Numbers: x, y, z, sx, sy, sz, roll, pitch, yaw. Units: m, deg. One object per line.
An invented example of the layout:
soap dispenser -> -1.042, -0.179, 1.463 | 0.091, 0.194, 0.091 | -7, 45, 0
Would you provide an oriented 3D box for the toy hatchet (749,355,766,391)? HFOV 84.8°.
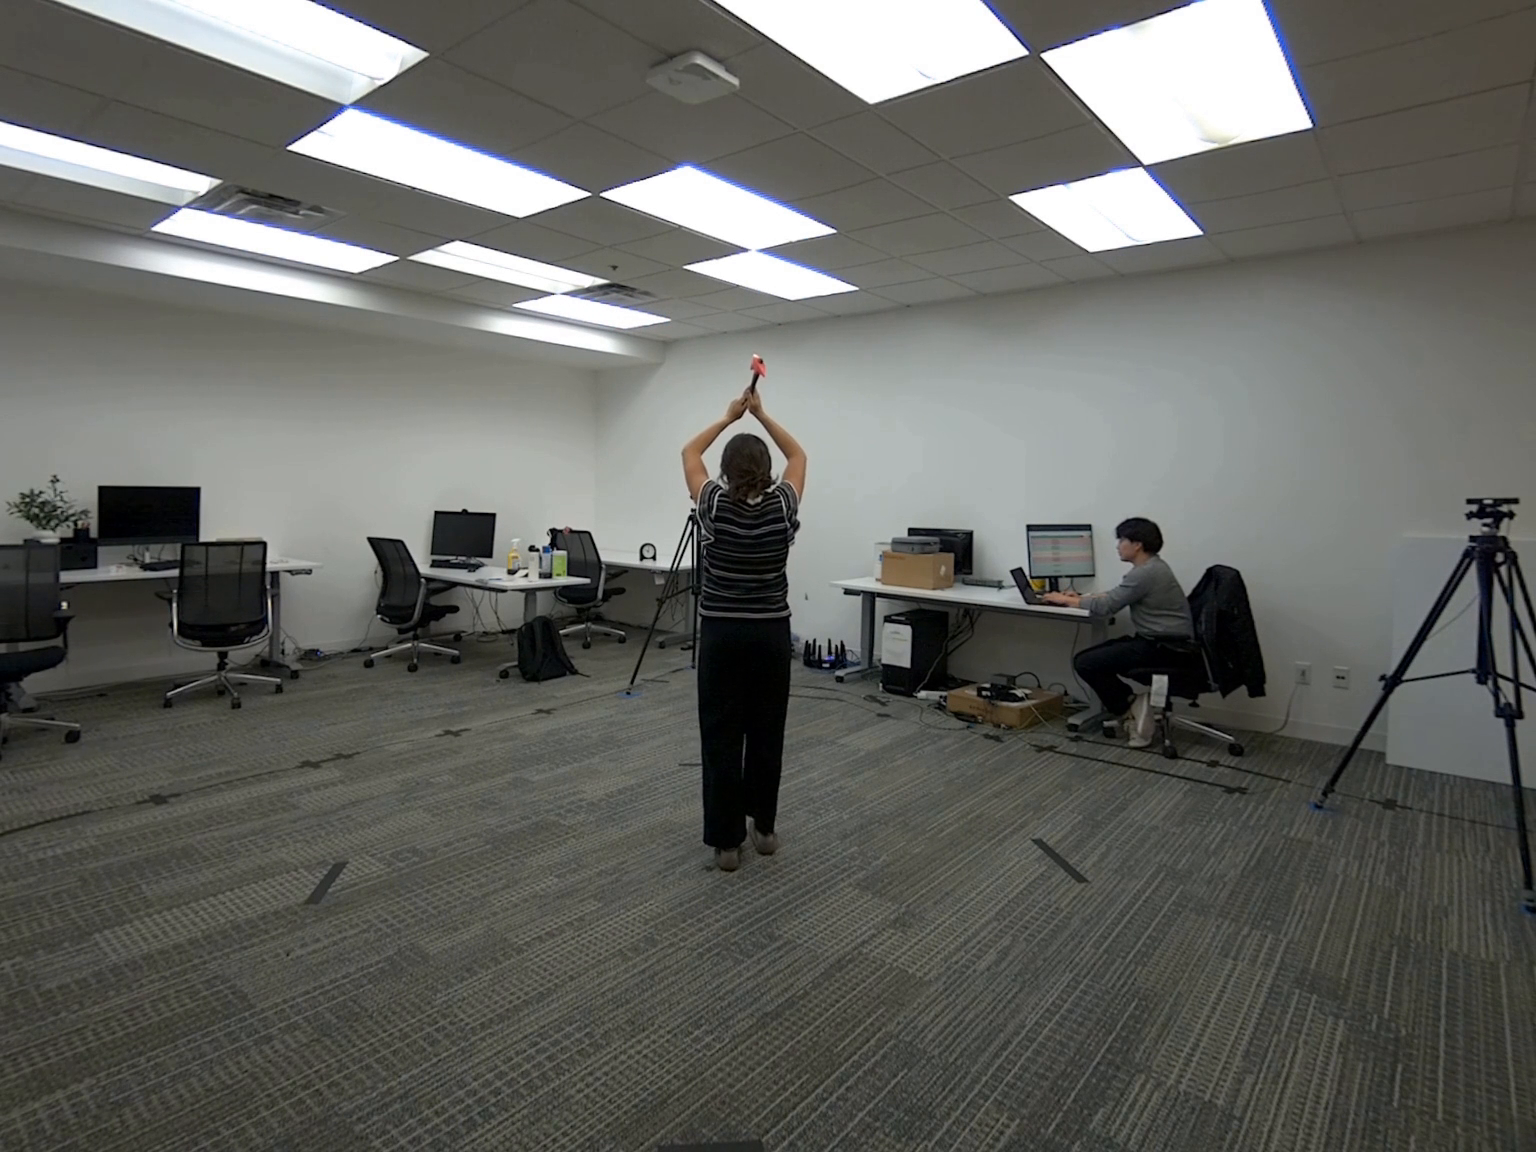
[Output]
toy hatchet -> -0.084, -0.761, 3.313 | 0.029, 0.134, 0.270 | -2, -22, -26
